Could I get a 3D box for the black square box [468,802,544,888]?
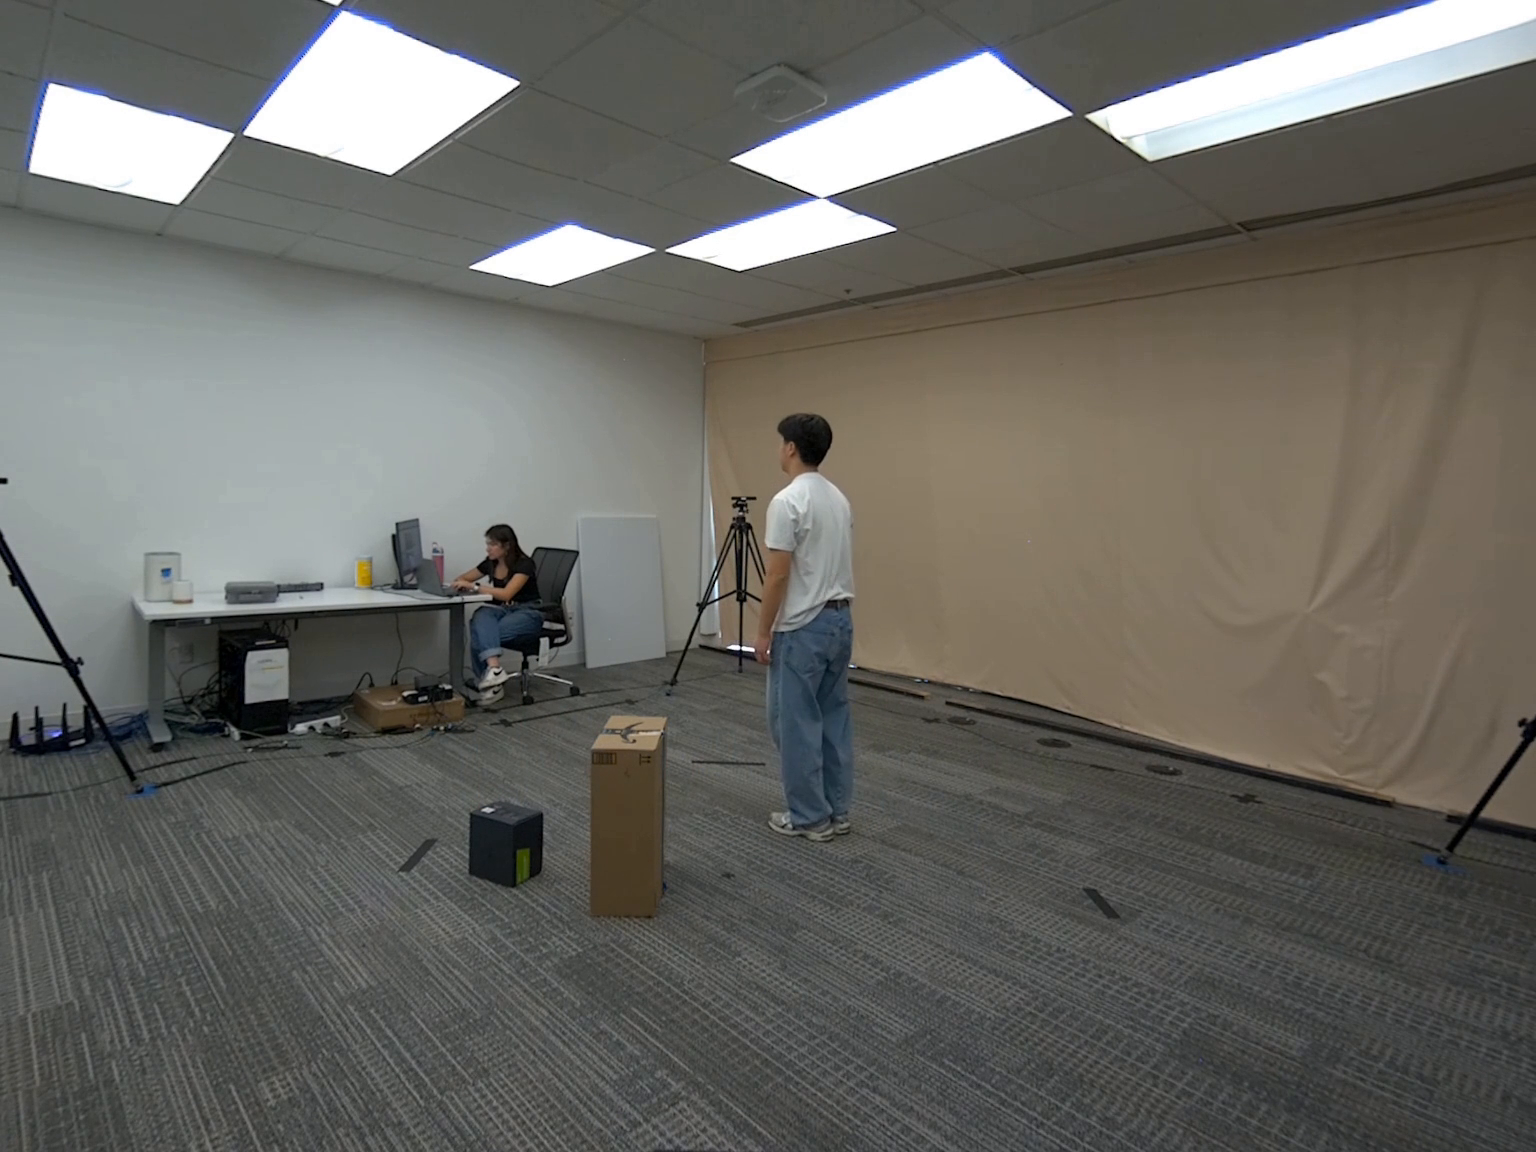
[{"bbox_3d":[-0.956,0.965,3.073,0.221,0.227,0.153,3,3,27],"label":"black square box"}]
